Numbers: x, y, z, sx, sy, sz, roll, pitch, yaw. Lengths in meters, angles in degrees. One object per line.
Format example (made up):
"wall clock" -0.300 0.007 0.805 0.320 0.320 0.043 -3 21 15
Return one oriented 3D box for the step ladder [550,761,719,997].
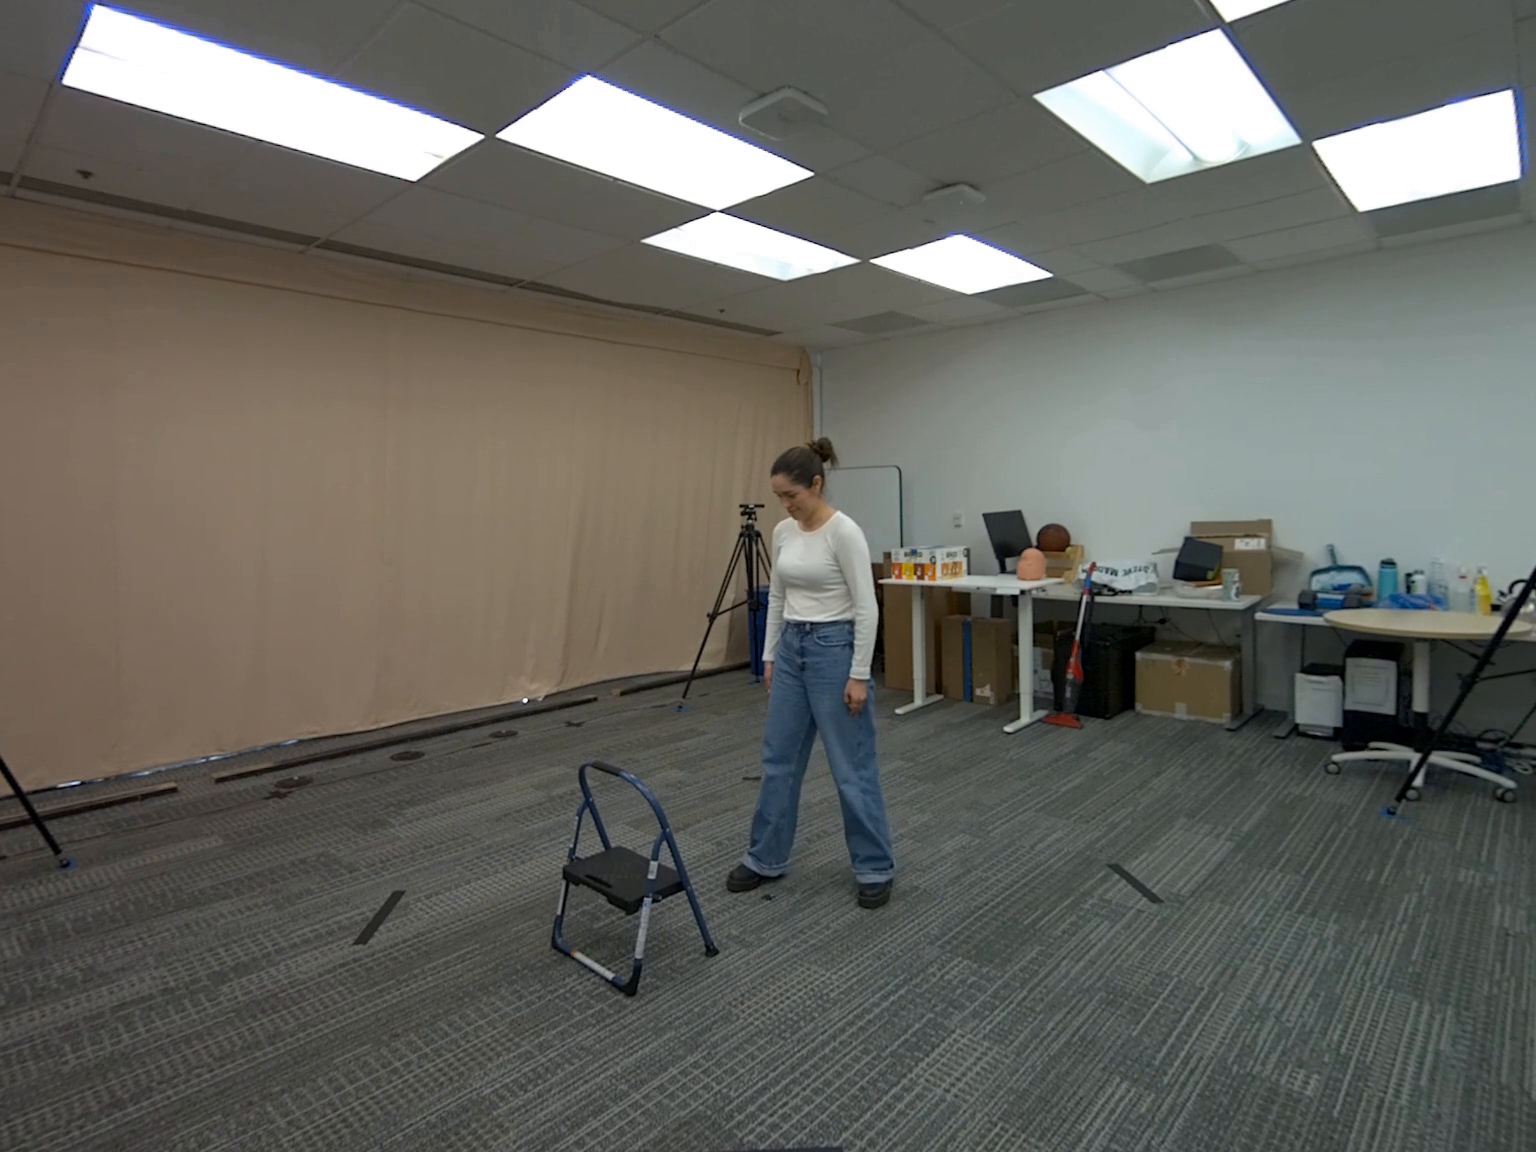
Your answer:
"step ladder" -0.428 0.877 2.636 0.445 0.605 0.339 2 4 43
